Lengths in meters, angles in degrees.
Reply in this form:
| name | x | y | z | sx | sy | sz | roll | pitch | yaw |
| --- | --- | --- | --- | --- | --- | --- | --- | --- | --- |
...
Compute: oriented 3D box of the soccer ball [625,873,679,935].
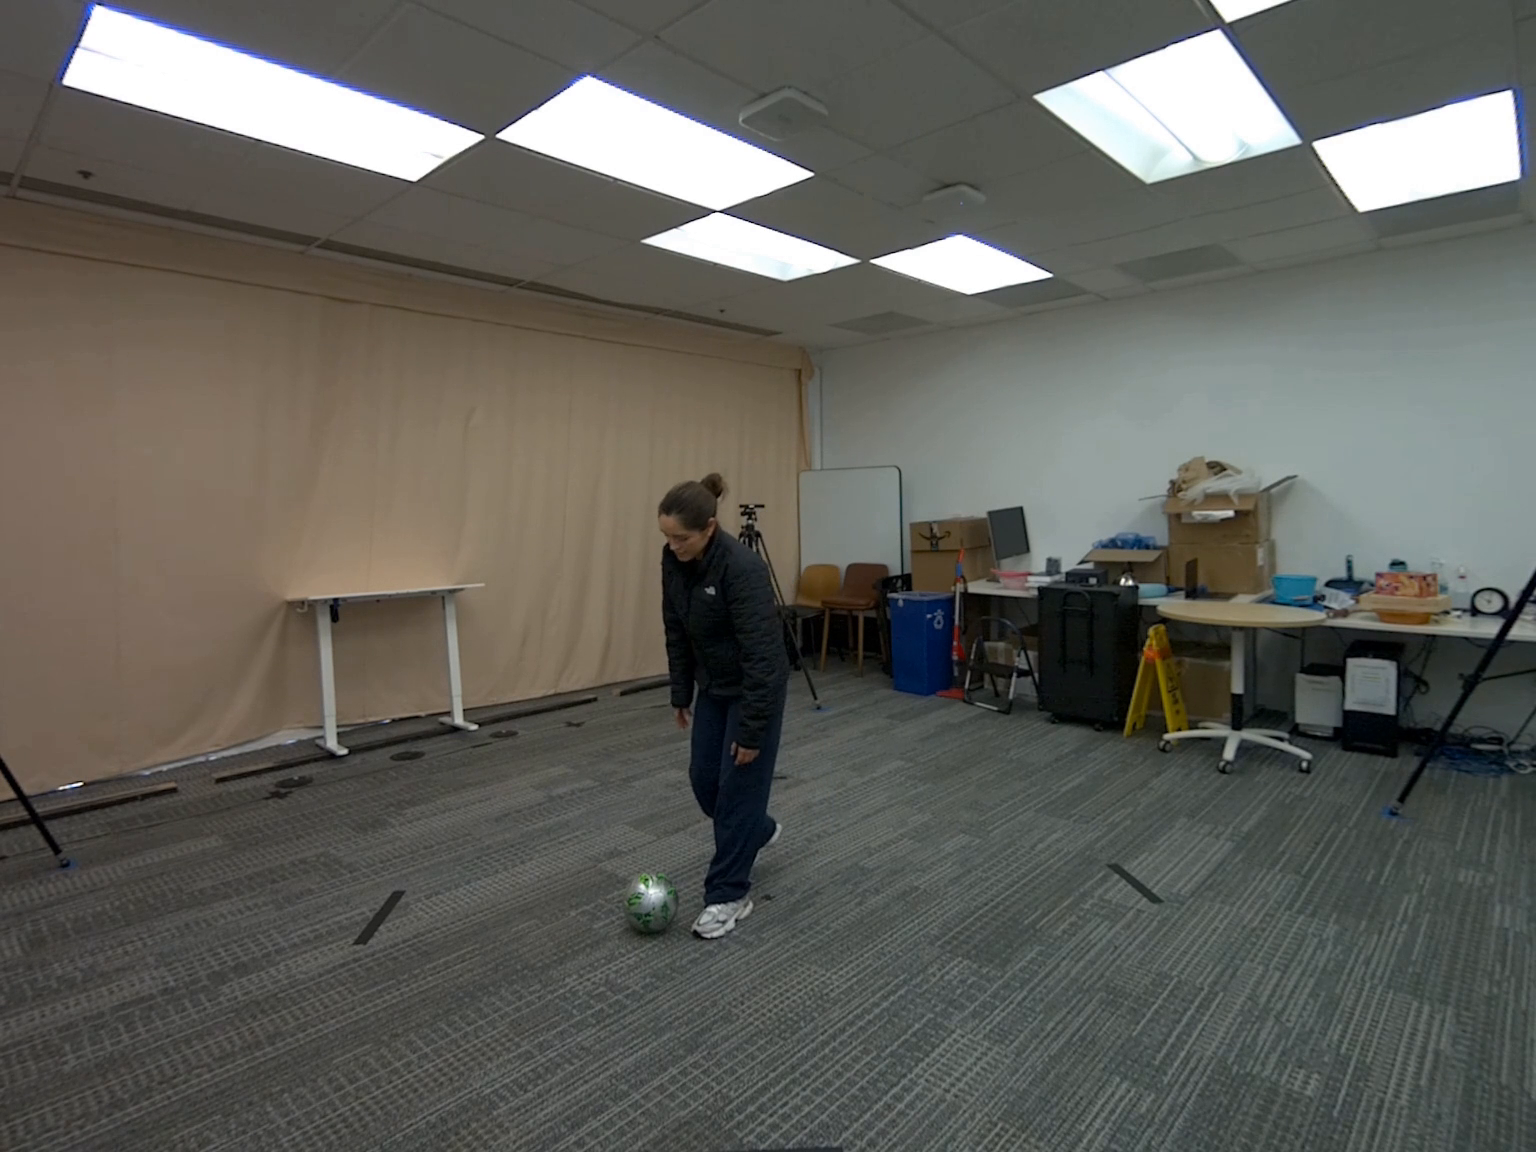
| name | x | y | z | sx | sy | sz | roll | pitch | yaw |
| --- | --- | --- | --- | --- | --- | --- | --- | --- | --- |
| soccer ball | -0.385 | 1.075 | 2.773 | 0.187 | 0.187 | 0.188 | -1 | 4 | -2 |
